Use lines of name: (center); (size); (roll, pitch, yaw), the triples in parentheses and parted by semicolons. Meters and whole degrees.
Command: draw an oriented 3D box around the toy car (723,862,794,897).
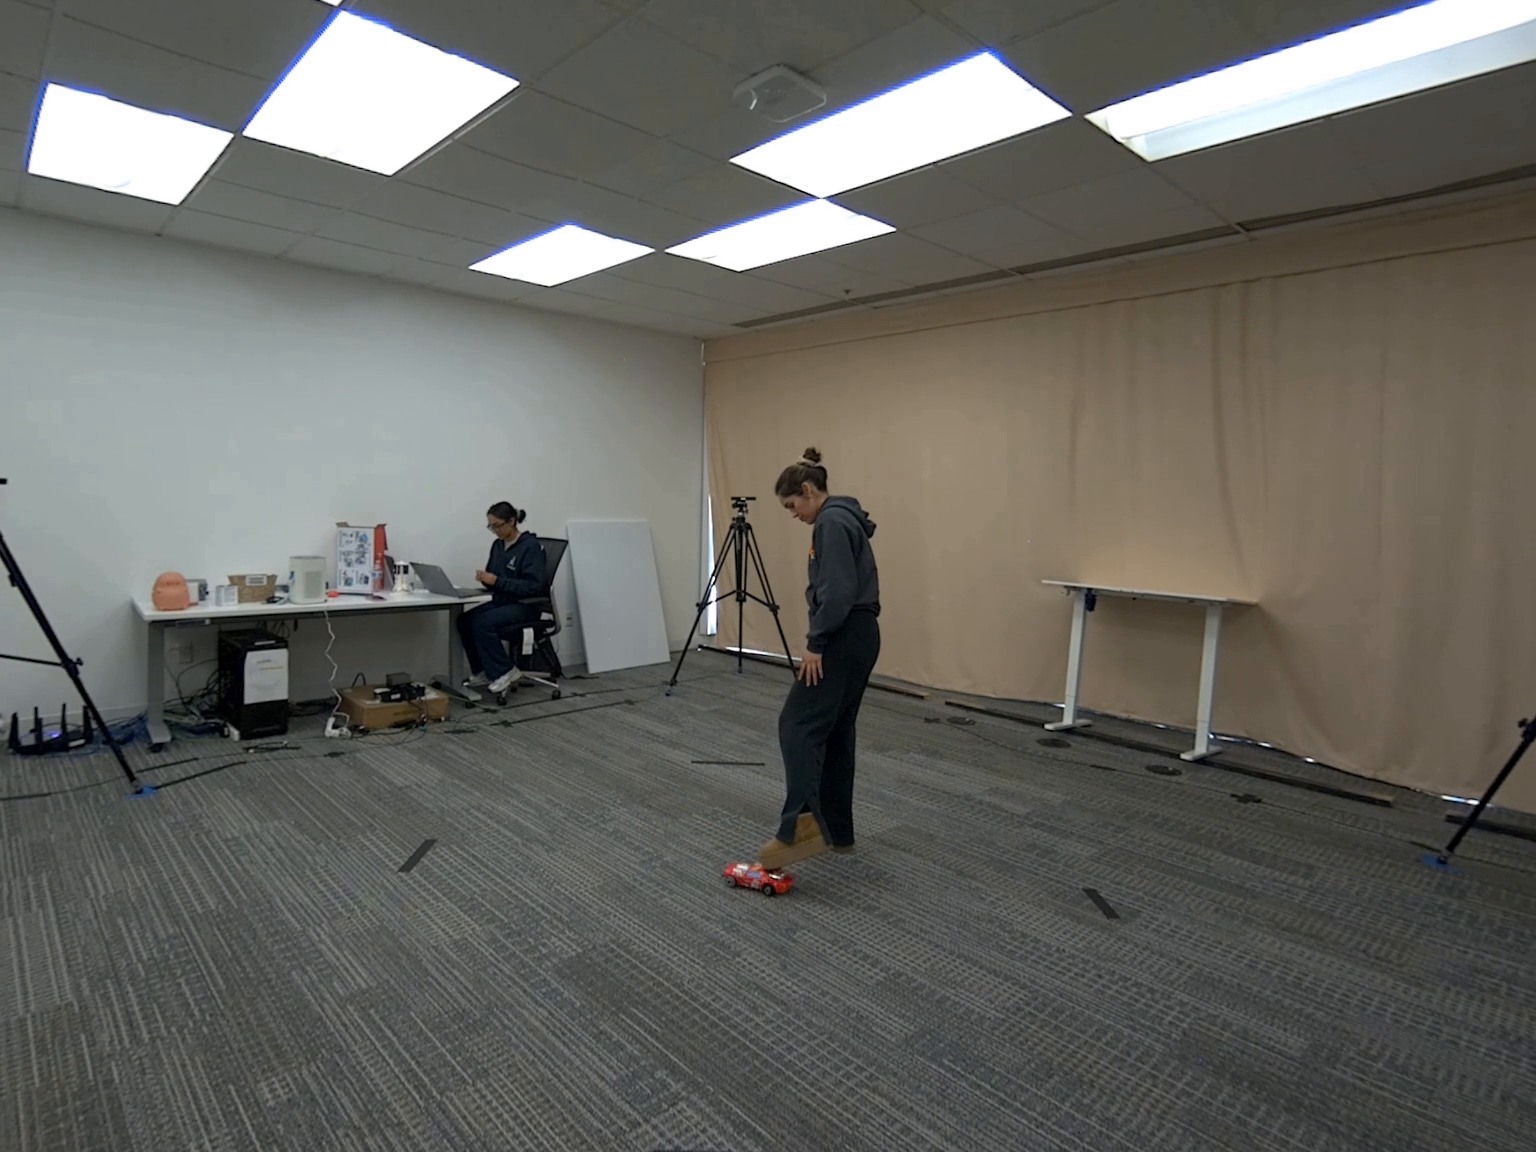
toy car: (-0.035, 1.083, 3.029); (0.259, 0.083, 0.128); (-4, 2, 24)
